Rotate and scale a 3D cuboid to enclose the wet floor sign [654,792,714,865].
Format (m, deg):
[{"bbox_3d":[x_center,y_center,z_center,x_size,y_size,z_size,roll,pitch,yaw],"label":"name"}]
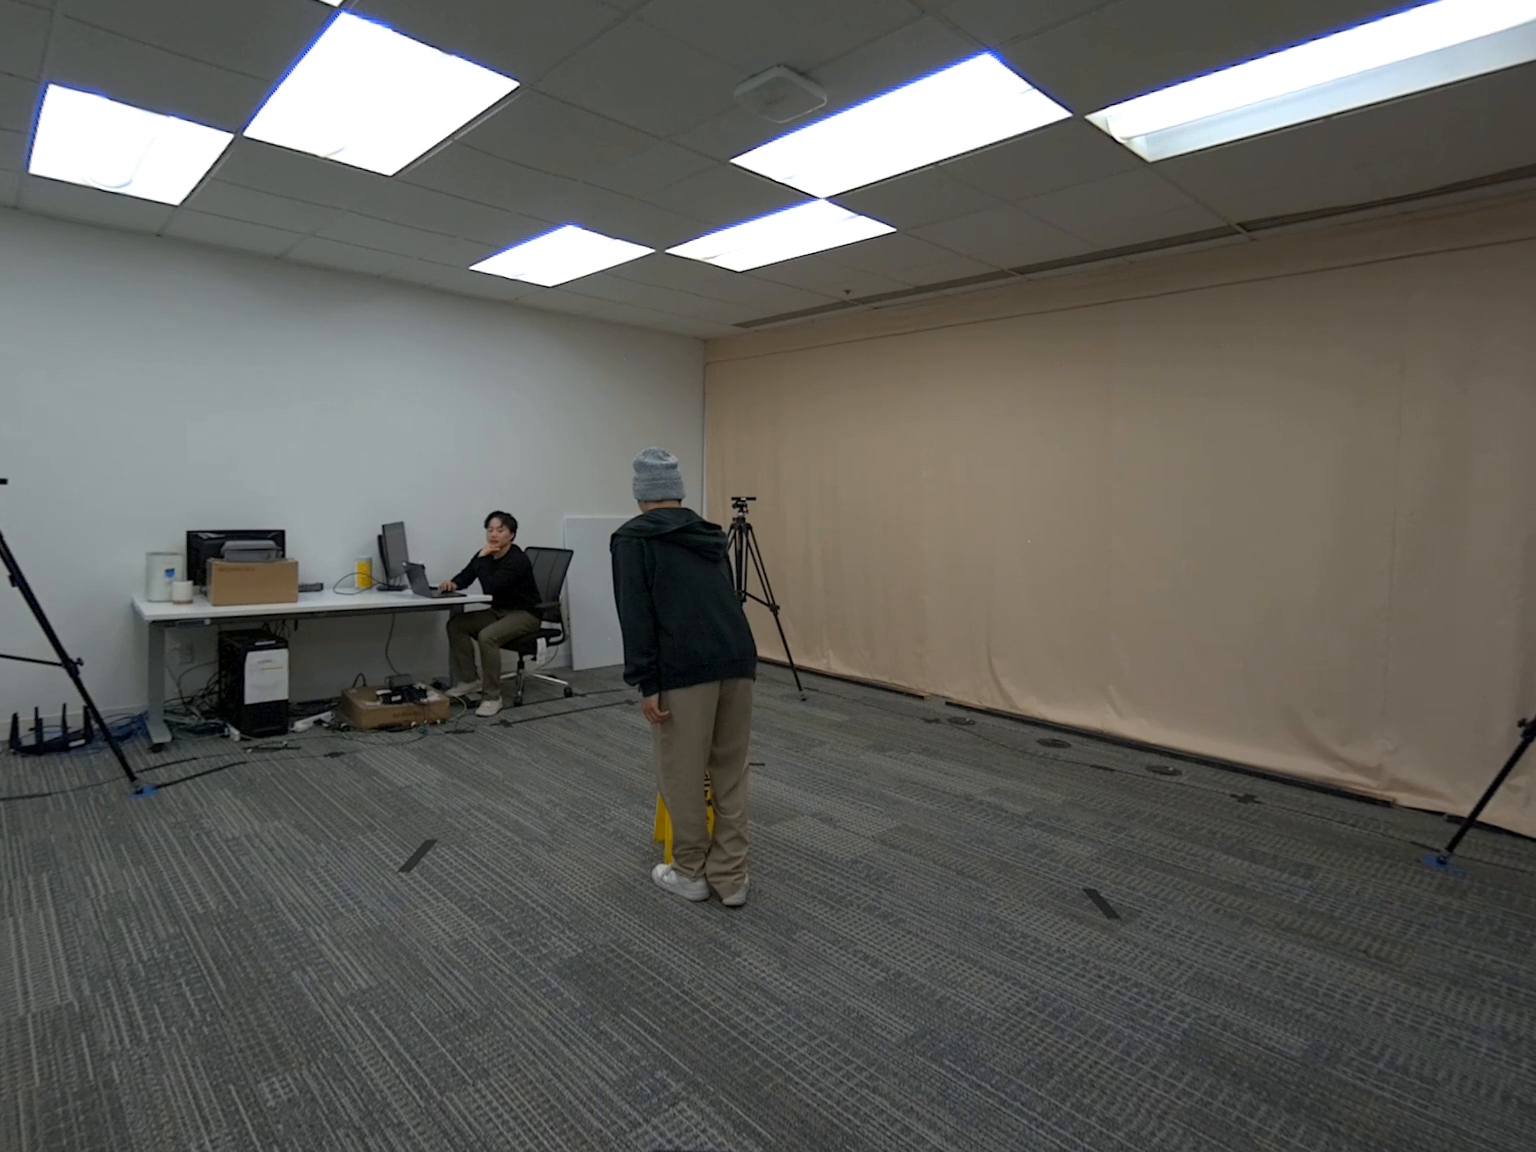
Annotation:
[{"bbox_3d":[-0.294,0.759,3.313,0.279,0.645,0.293,1,2,-15],"label":"wet floor sign"}]
